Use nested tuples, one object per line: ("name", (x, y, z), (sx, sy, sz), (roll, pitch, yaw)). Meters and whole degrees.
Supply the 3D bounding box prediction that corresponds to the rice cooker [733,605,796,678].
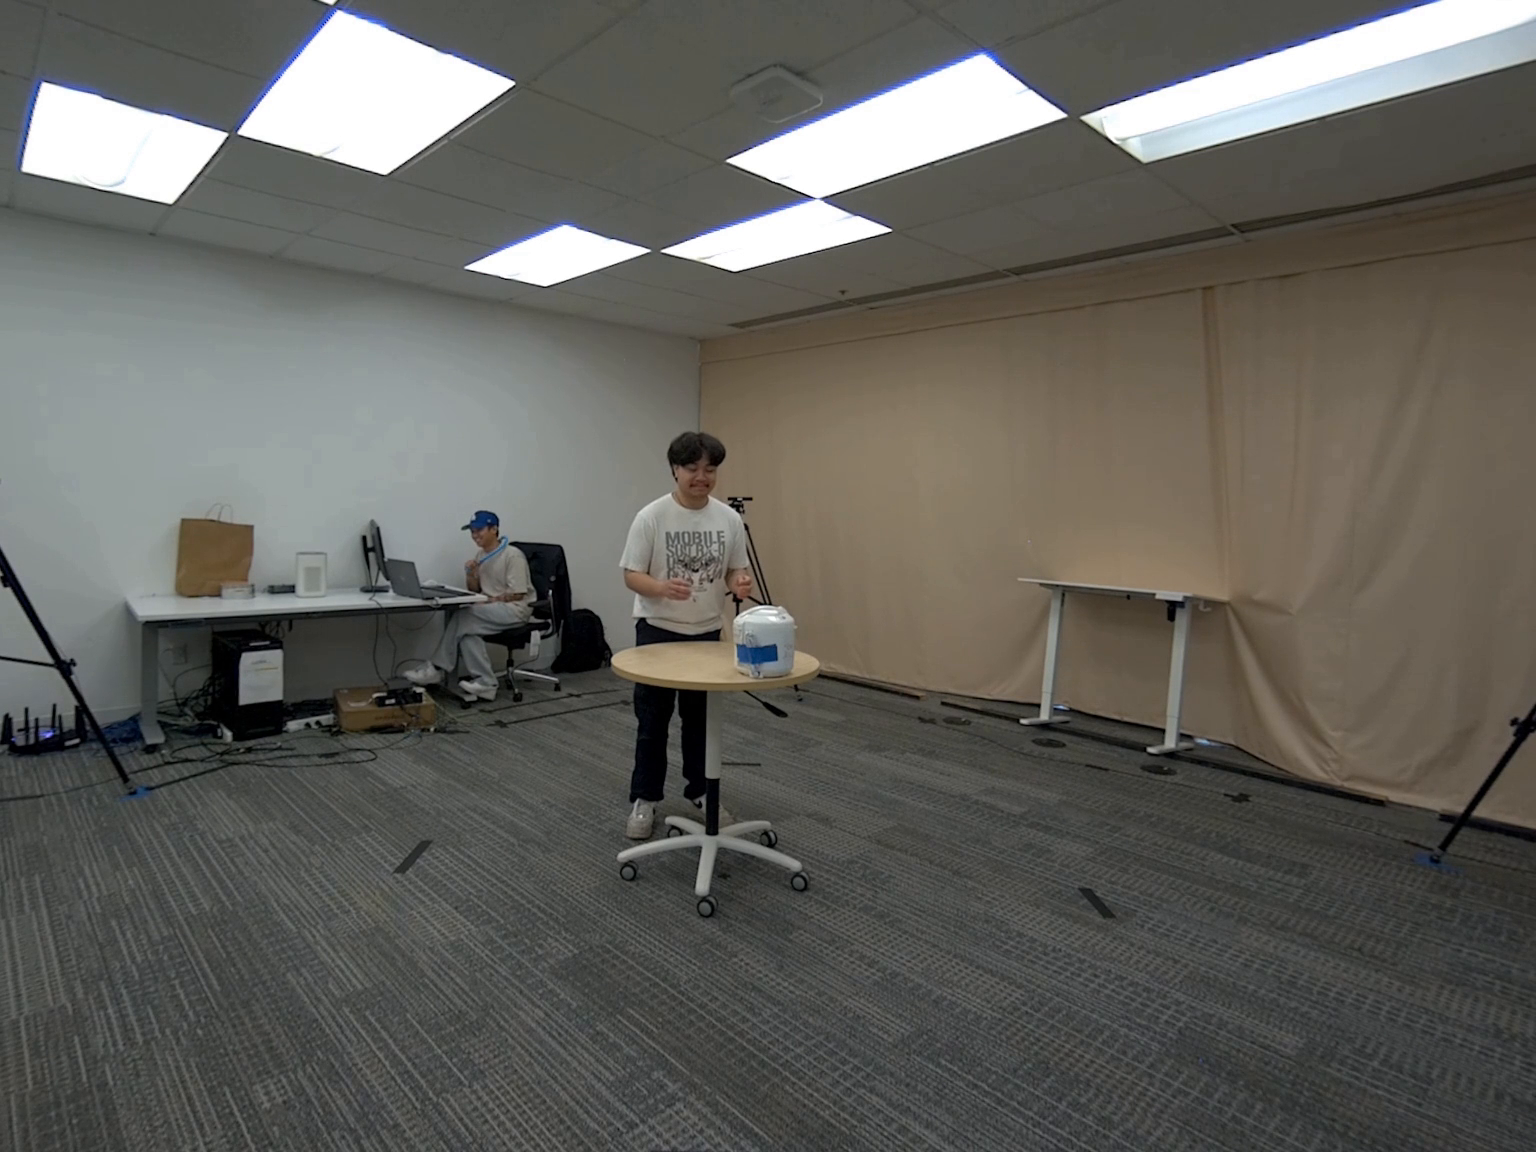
("rice cooker", (-0.021, 0.218, 2.887), (0.216, 0.232, 0.222), (0, 6, -25))
